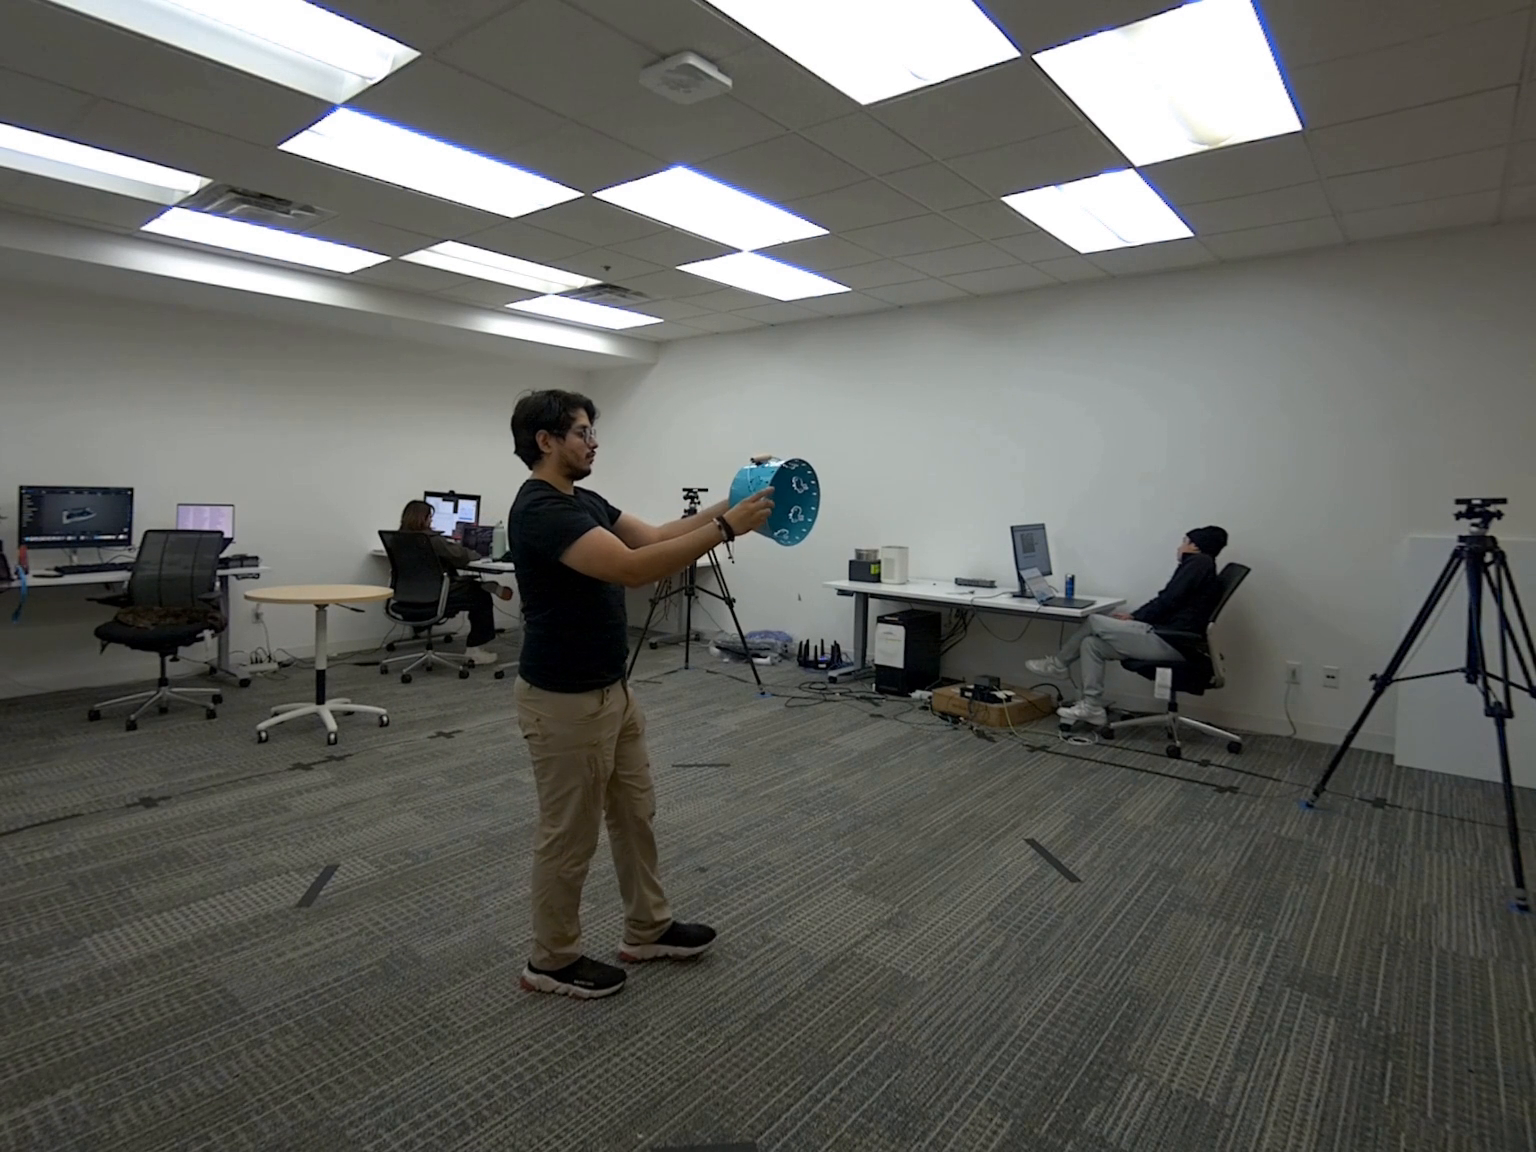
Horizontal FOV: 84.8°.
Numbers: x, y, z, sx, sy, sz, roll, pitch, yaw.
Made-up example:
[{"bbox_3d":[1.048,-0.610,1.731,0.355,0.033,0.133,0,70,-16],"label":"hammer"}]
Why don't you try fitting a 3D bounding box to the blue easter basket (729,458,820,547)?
[{"bbox_3d":[0.003,-0.203,2.287,0.161,0.242,0.236,9,8,41],"label":"blue easter basket"}]
